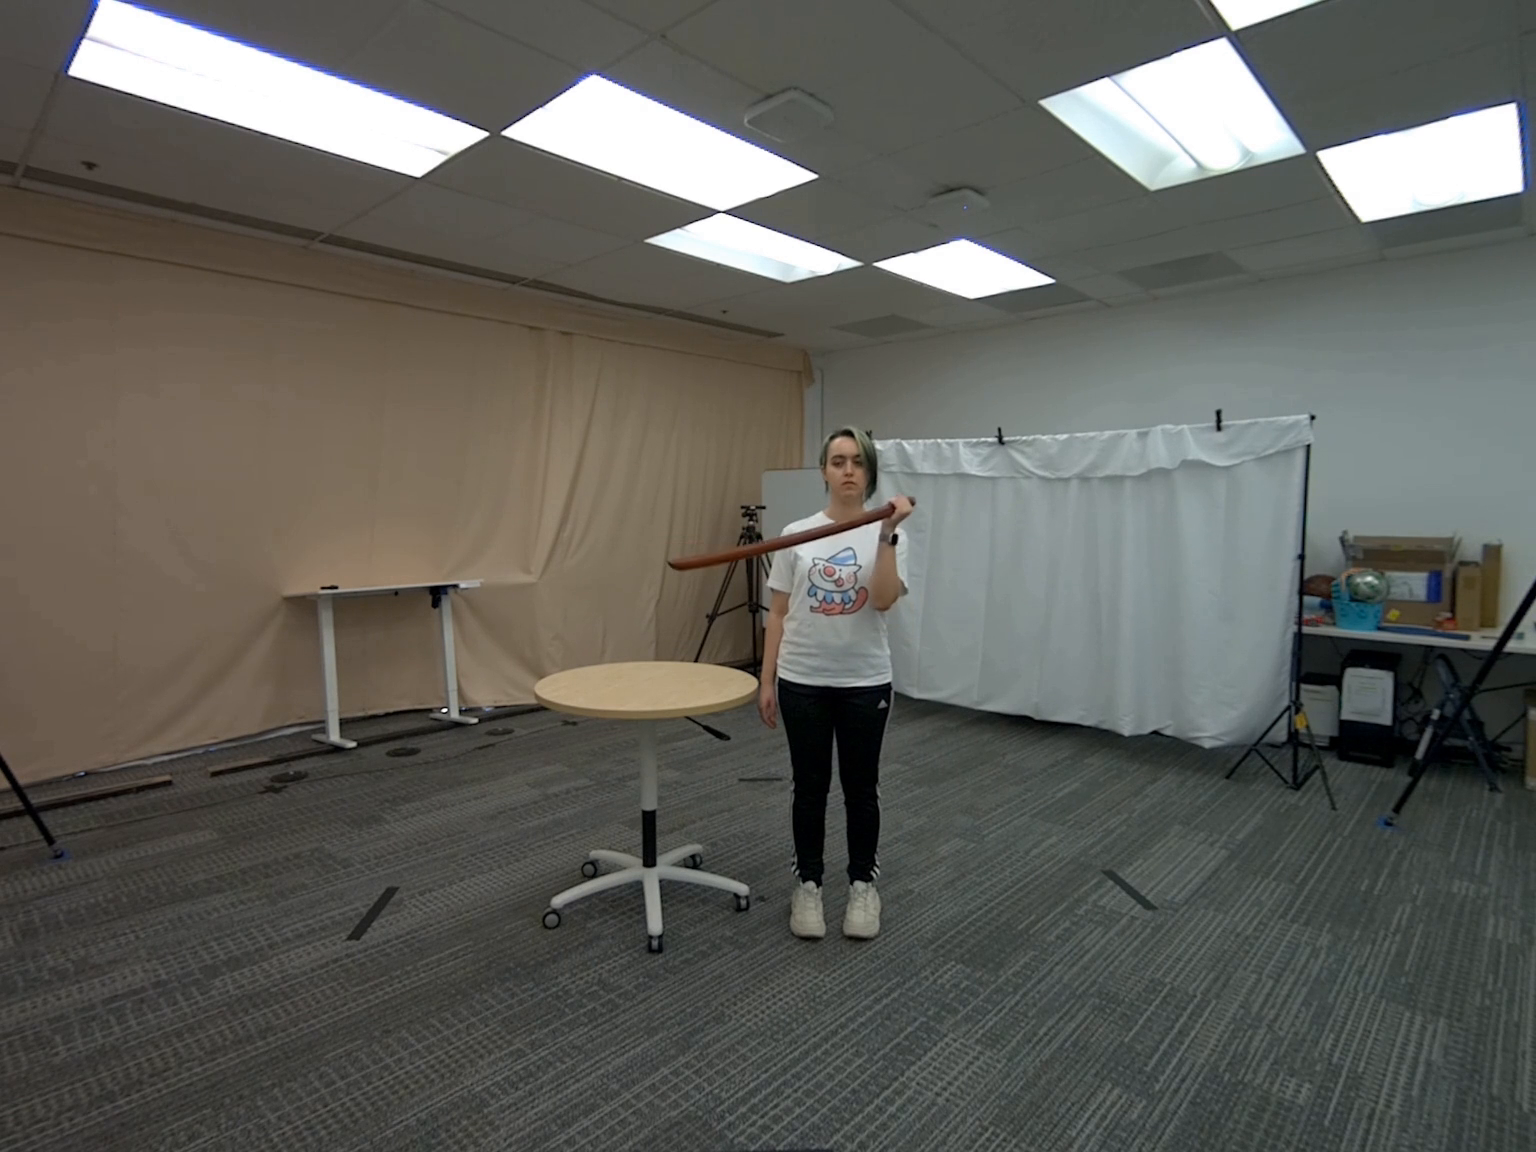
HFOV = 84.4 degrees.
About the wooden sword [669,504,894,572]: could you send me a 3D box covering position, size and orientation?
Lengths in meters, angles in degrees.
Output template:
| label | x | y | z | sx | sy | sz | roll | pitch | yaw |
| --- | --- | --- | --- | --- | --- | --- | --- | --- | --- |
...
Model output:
| label | x | y | z | sx | sy | sz | roll | pitch | yaw |
| --- | --- | --- | --- | --- | --- | --- | --- | --- | --- |
| wooden sword | 0.140 | -0.099 | 2.201 | 0.053 | 0.024 | 0.999 | 42 | 36 | 24 |
